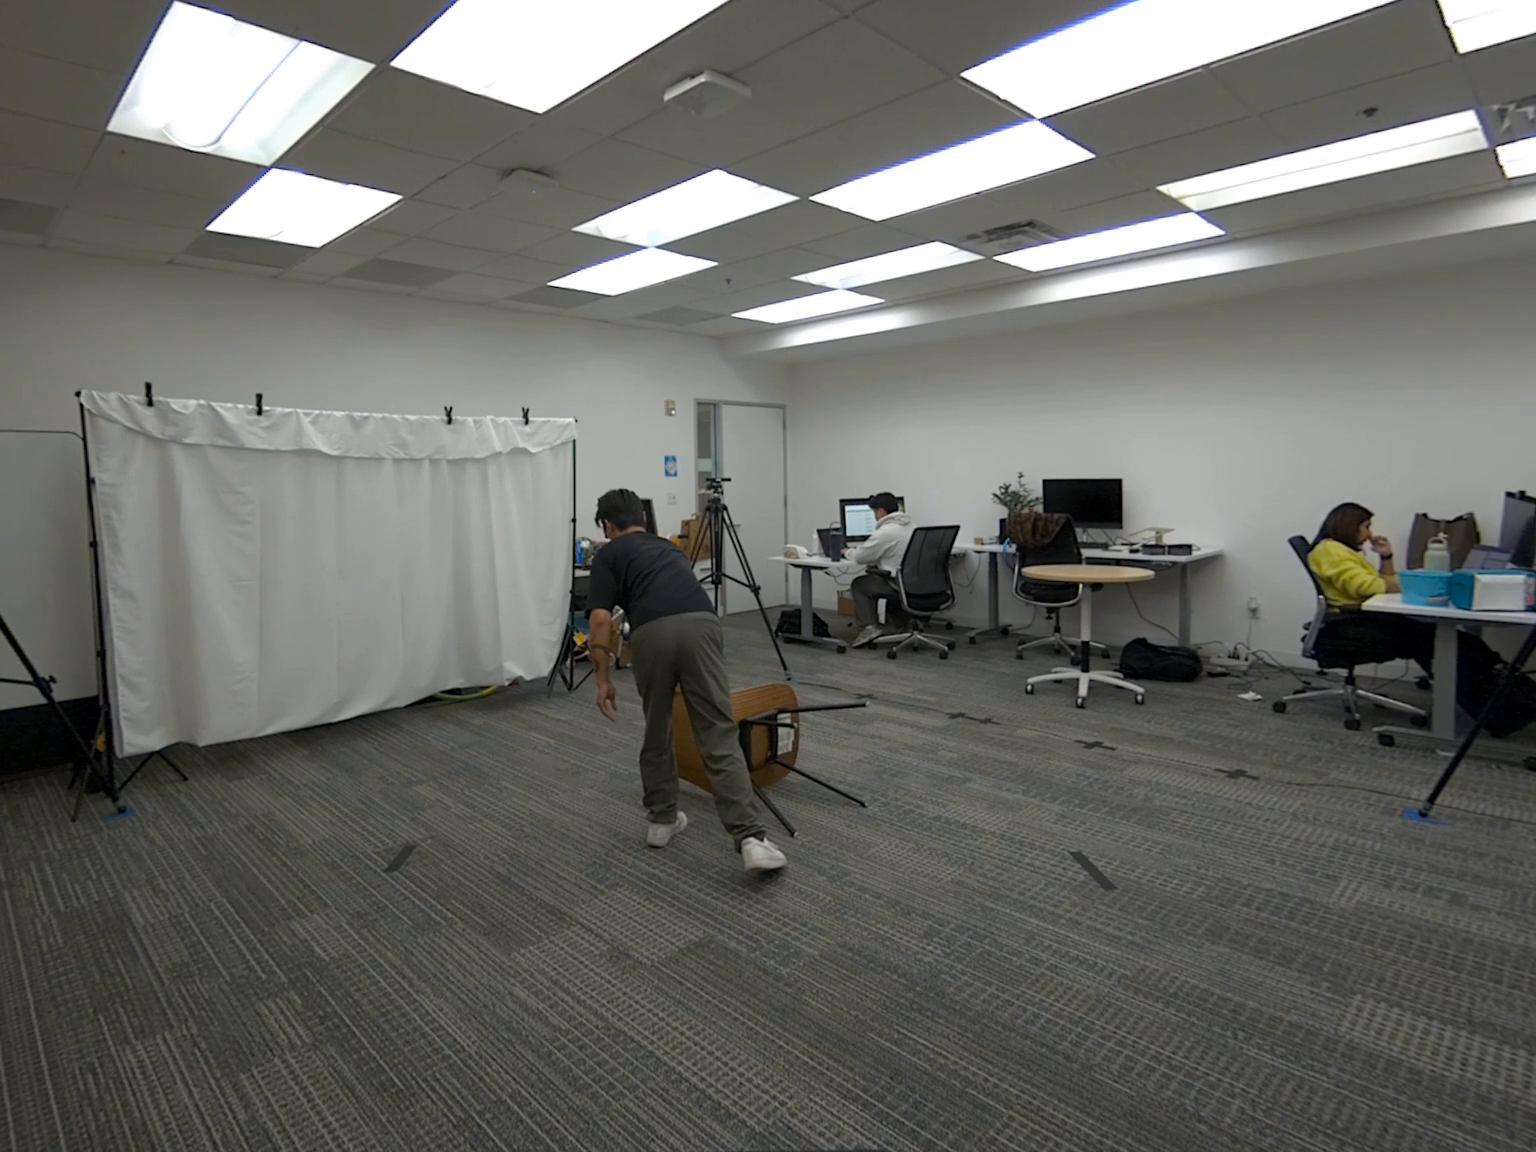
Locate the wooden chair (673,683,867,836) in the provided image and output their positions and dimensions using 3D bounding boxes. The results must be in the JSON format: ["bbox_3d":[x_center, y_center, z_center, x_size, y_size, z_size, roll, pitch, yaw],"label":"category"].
[{"bbox_3d":[-0.032,0.736,3.773,0.904,0.476,0.510,4,8,42],"label":"wooden chair"}]
